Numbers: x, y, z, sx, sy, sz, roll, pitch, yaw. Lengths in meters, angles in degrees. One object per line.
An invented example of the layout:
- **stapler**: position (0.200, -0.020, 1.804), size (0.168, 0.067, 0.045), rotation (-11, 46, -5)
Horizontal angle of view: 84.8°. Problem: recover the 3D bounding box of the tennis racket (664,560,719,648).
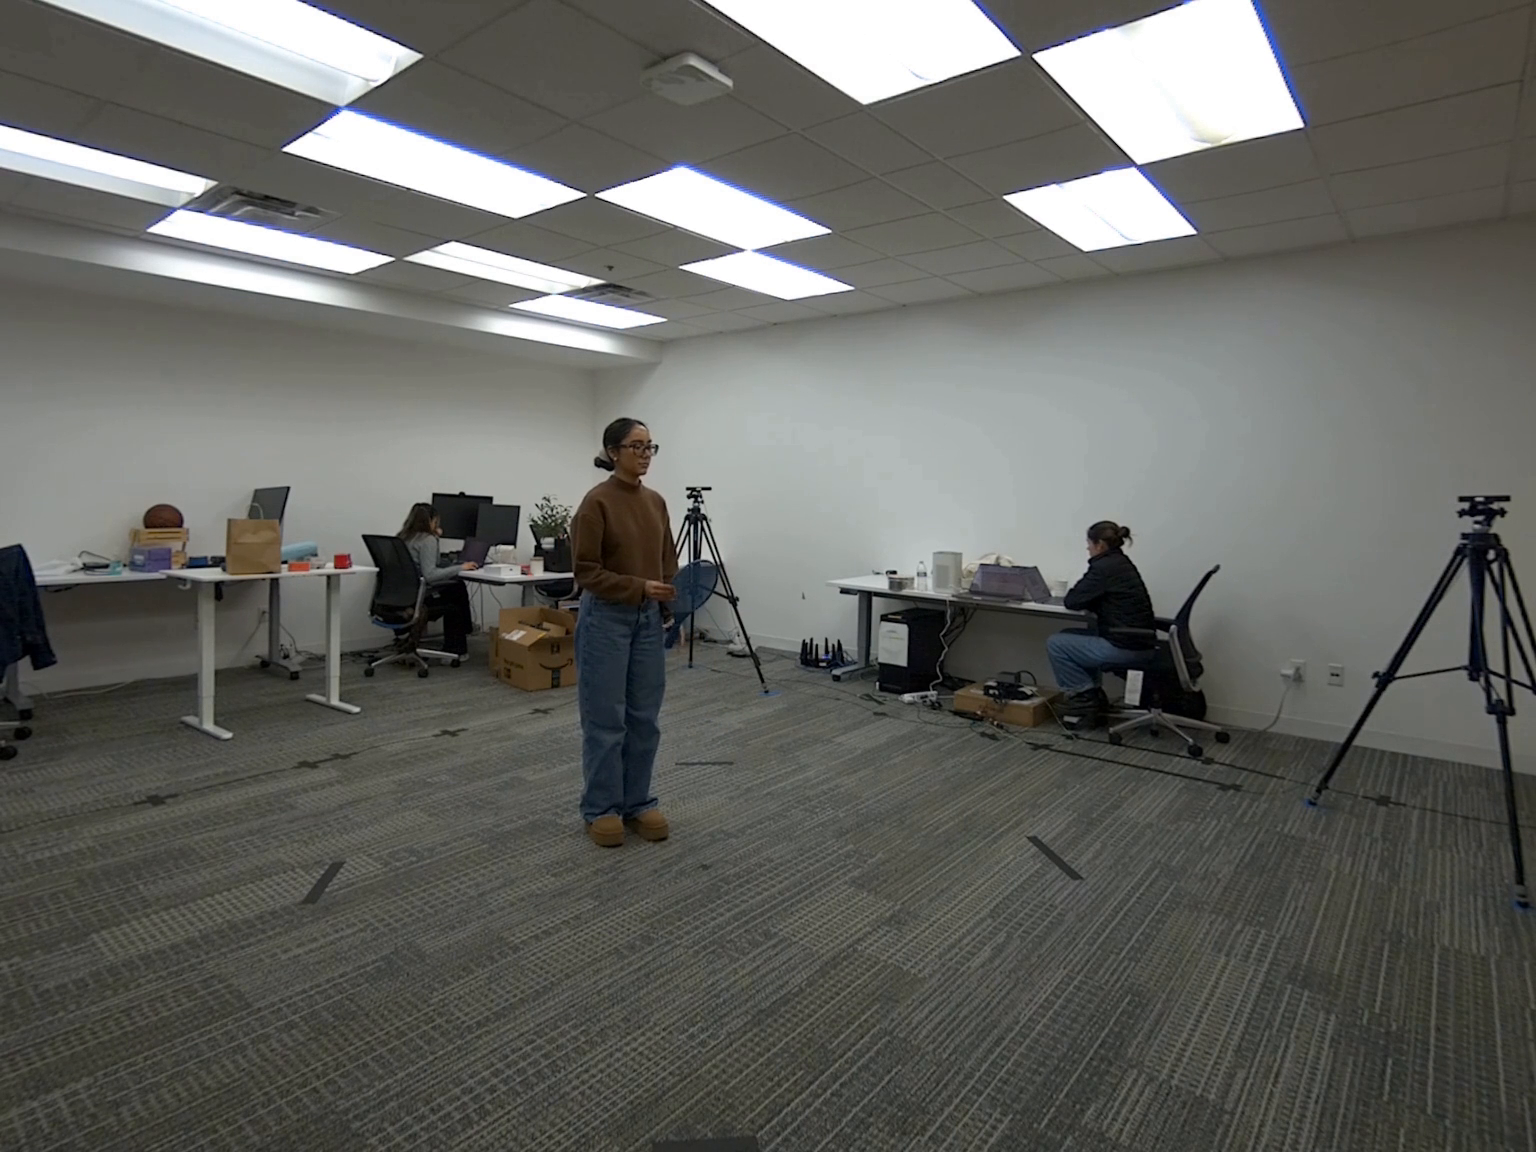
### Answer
- **tennis racket**: position (-0.343, 0.129, 3.266), size (0.206, 0.429, 0.033), rotation (10, 26, -36)
